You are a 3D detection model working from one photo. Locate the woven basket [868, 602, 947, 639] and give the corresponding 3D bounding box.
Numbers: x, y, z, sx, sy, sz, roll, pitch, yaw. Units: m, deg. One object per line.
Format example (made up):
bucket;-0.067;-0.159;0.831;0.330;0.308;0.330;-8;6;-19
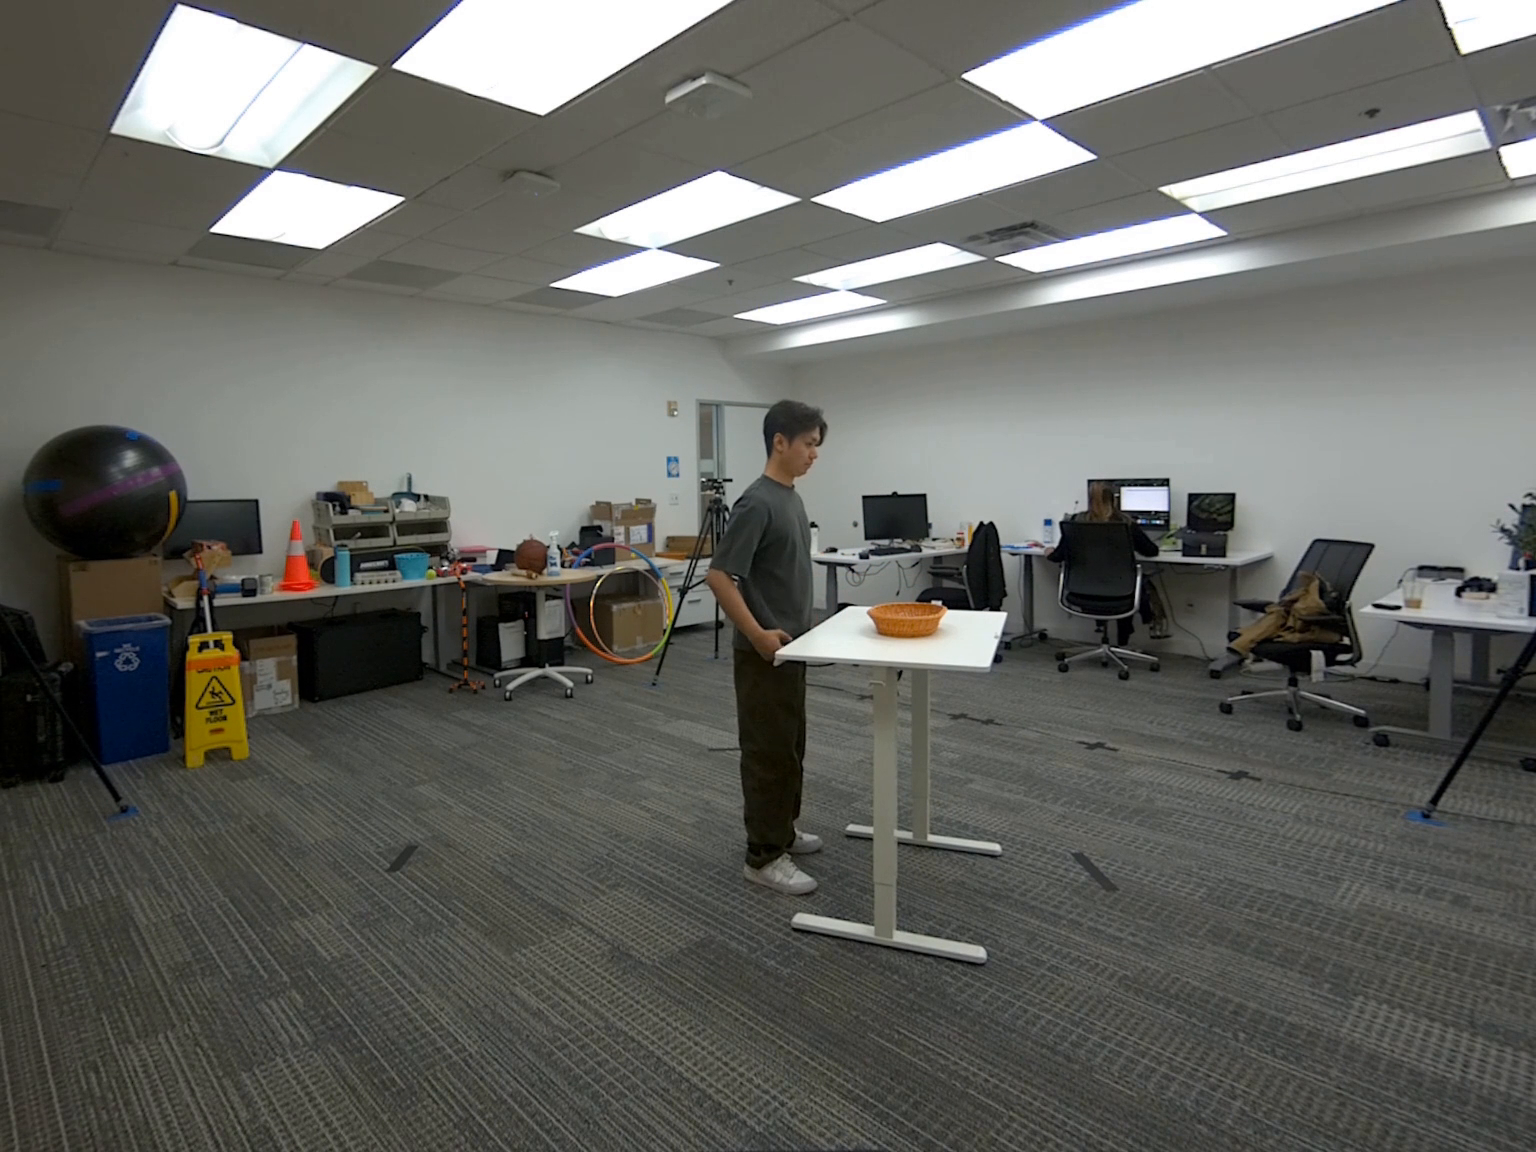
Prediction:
woven basket;0.463;0.151;2.838;0.258;0.073;0.344;2;7;22
